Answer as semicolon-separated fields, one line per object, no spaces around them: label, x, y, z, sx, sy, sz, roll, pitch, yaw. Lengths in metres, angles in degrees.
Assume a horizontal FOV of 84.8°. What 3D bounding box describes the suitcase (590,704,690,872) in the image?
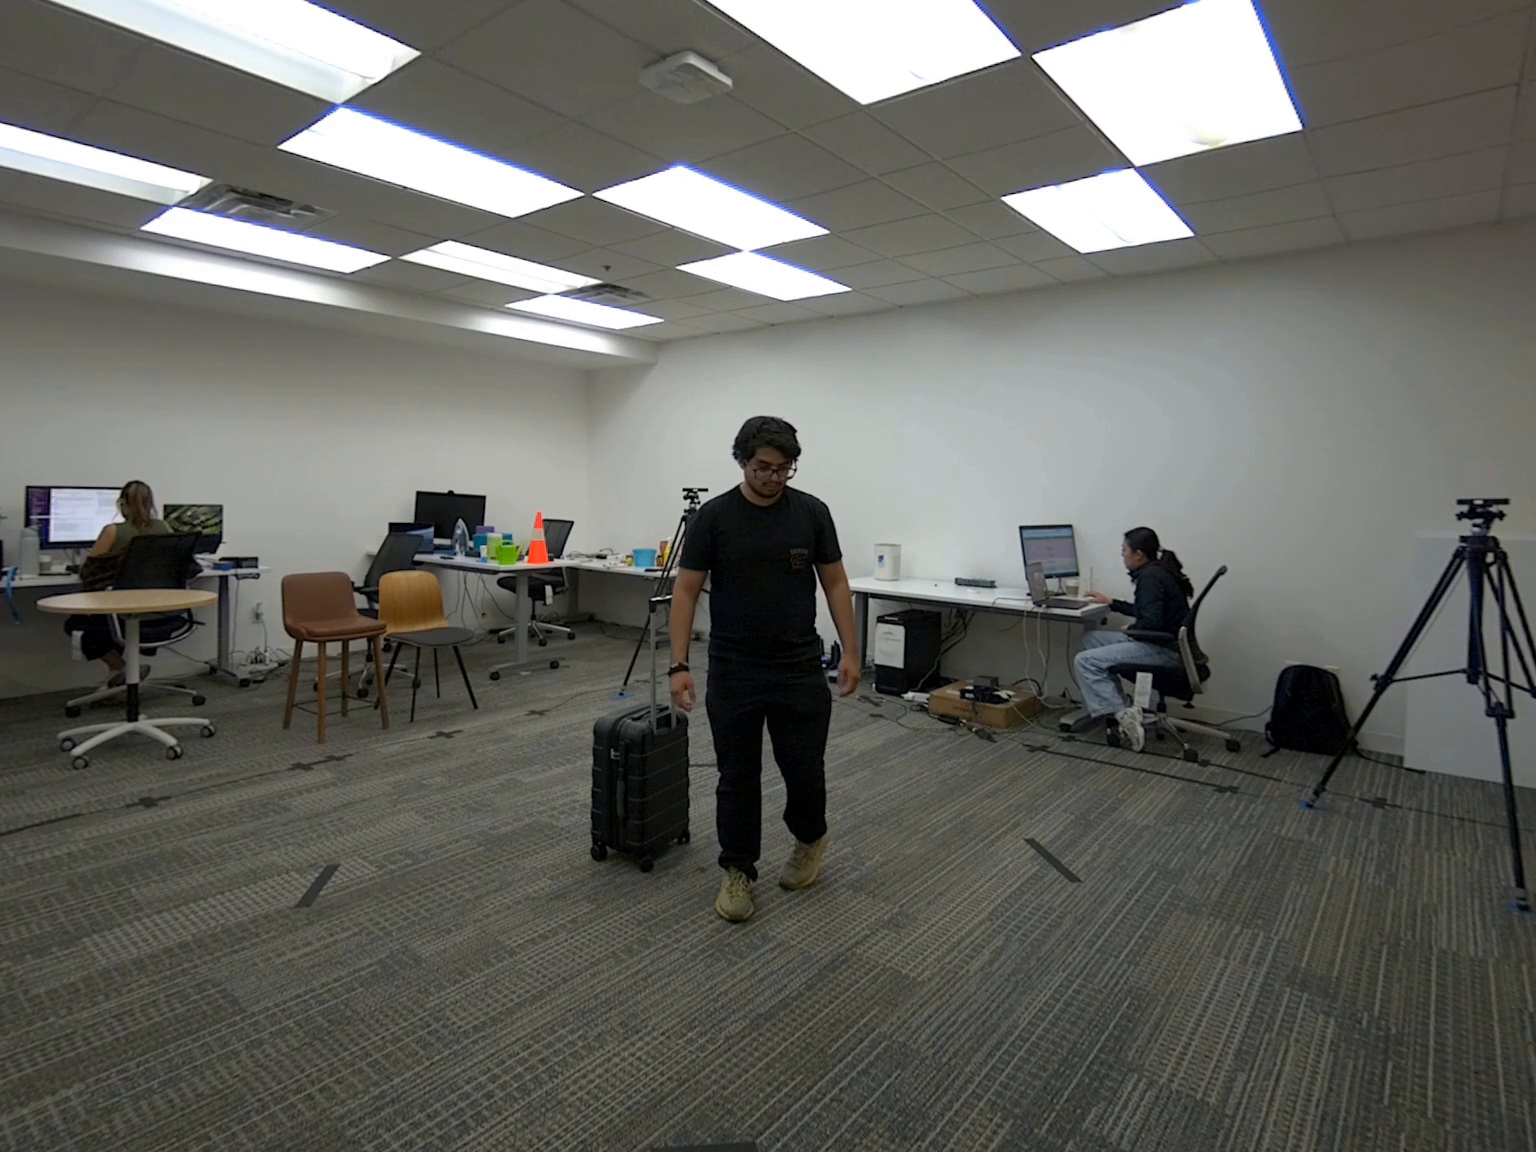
suitcase;-0.499;0.575;3.248;0.264;0.977;0.374;0;2;27
